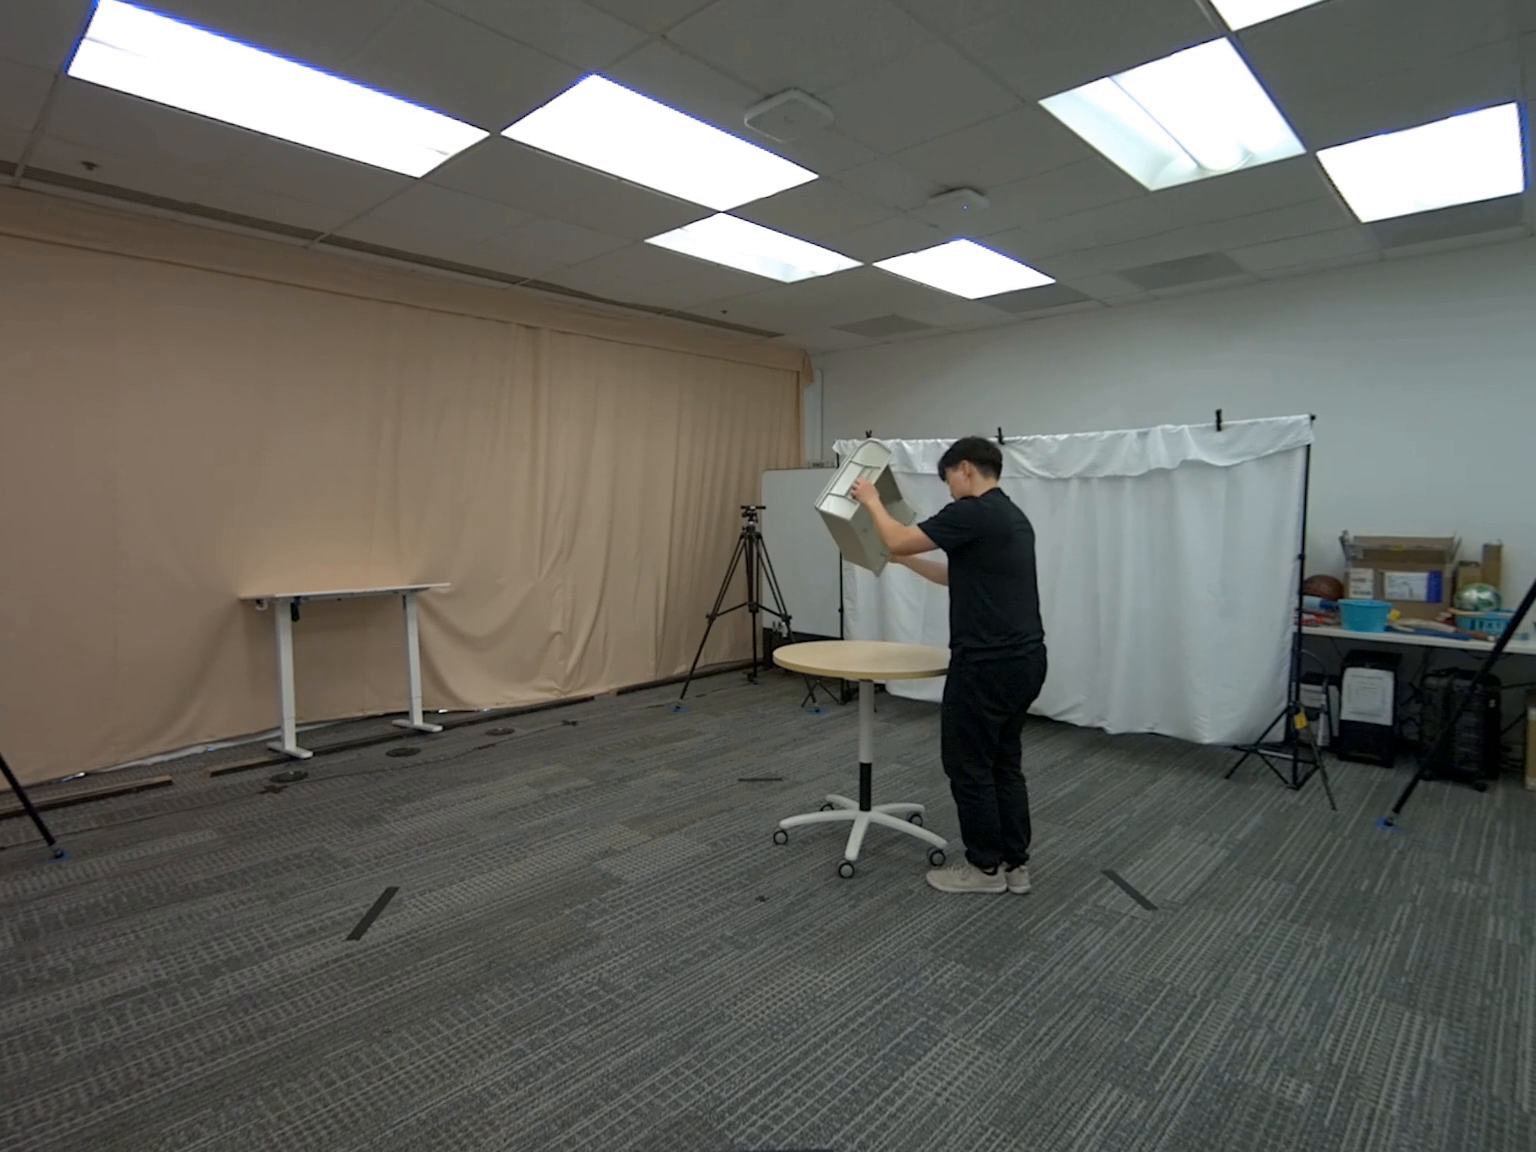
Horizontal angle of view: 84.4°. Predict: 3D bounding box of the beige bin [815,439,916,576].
[{"bbox_3d":[0.411,-0.267,3.404,0.196,0.377,0.408,23,-19,35],"label":"beige bin"}]
